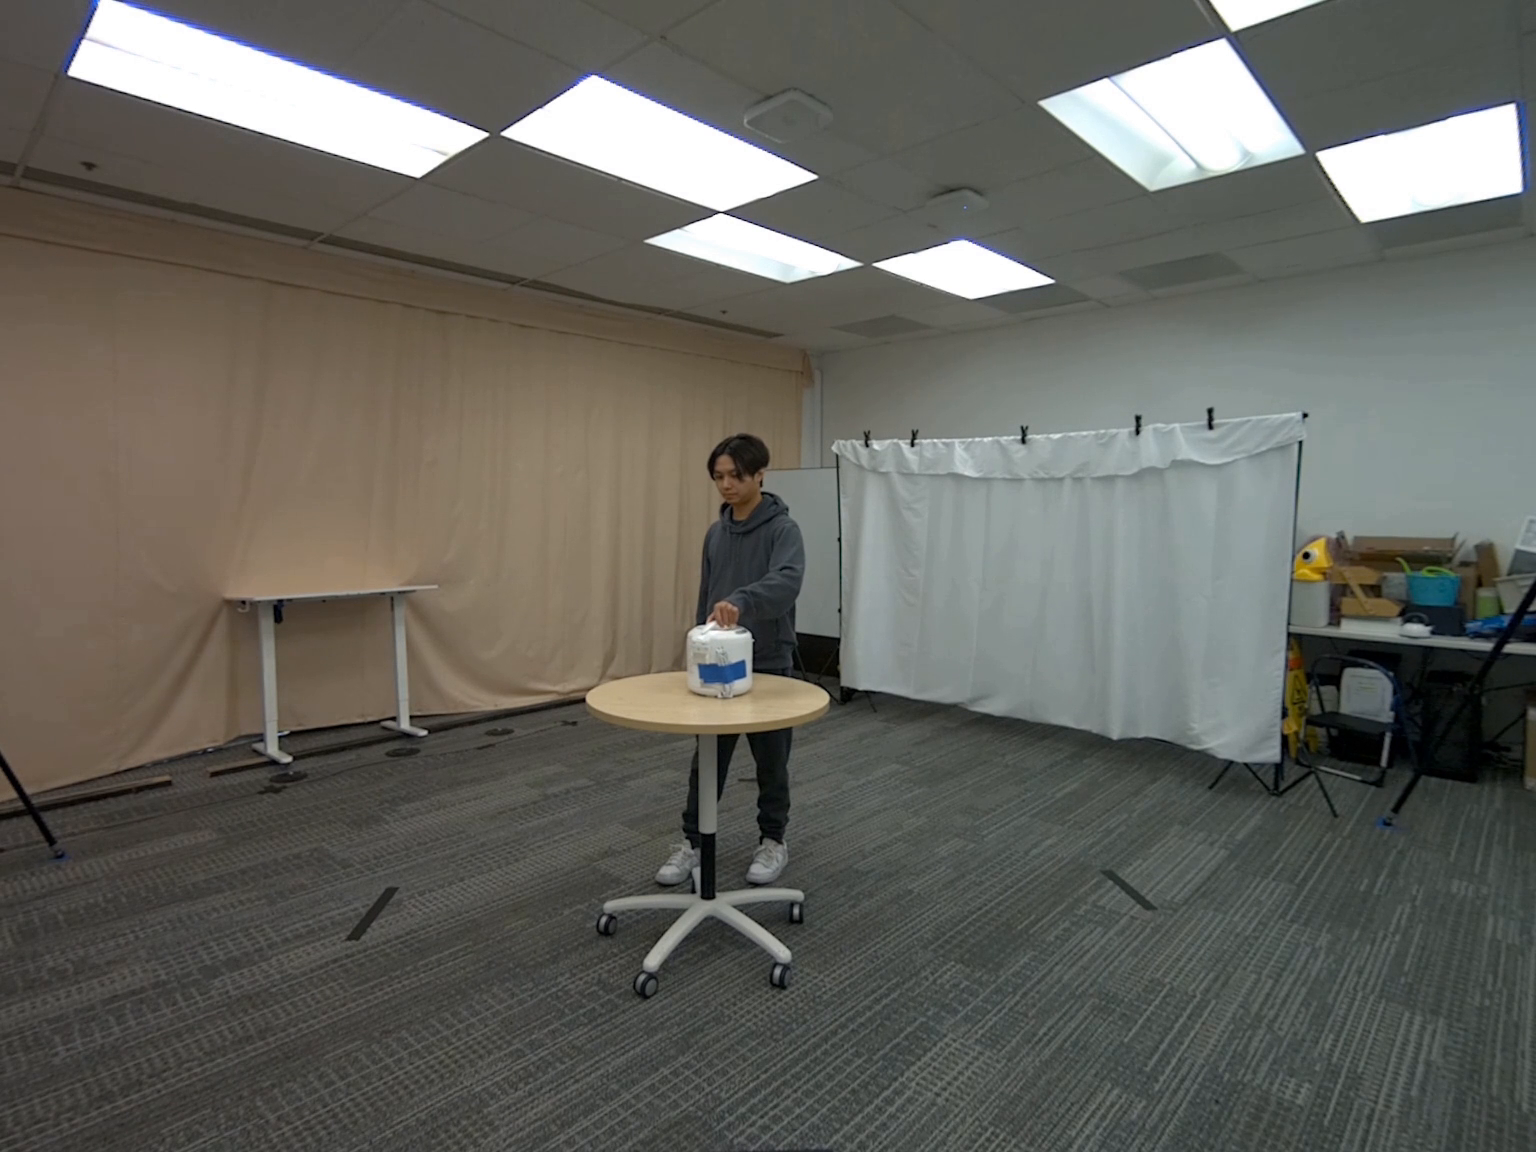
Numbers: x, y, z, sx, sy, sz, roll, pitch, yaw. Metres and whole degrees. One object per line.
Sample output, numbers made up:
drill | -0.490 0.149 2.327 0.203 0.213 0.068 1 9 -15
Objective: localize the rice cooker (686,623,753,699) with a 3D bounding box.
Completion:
rice cooker | -0.158 0.256 2.696 0.224 0.232 0.214 4 4 36
